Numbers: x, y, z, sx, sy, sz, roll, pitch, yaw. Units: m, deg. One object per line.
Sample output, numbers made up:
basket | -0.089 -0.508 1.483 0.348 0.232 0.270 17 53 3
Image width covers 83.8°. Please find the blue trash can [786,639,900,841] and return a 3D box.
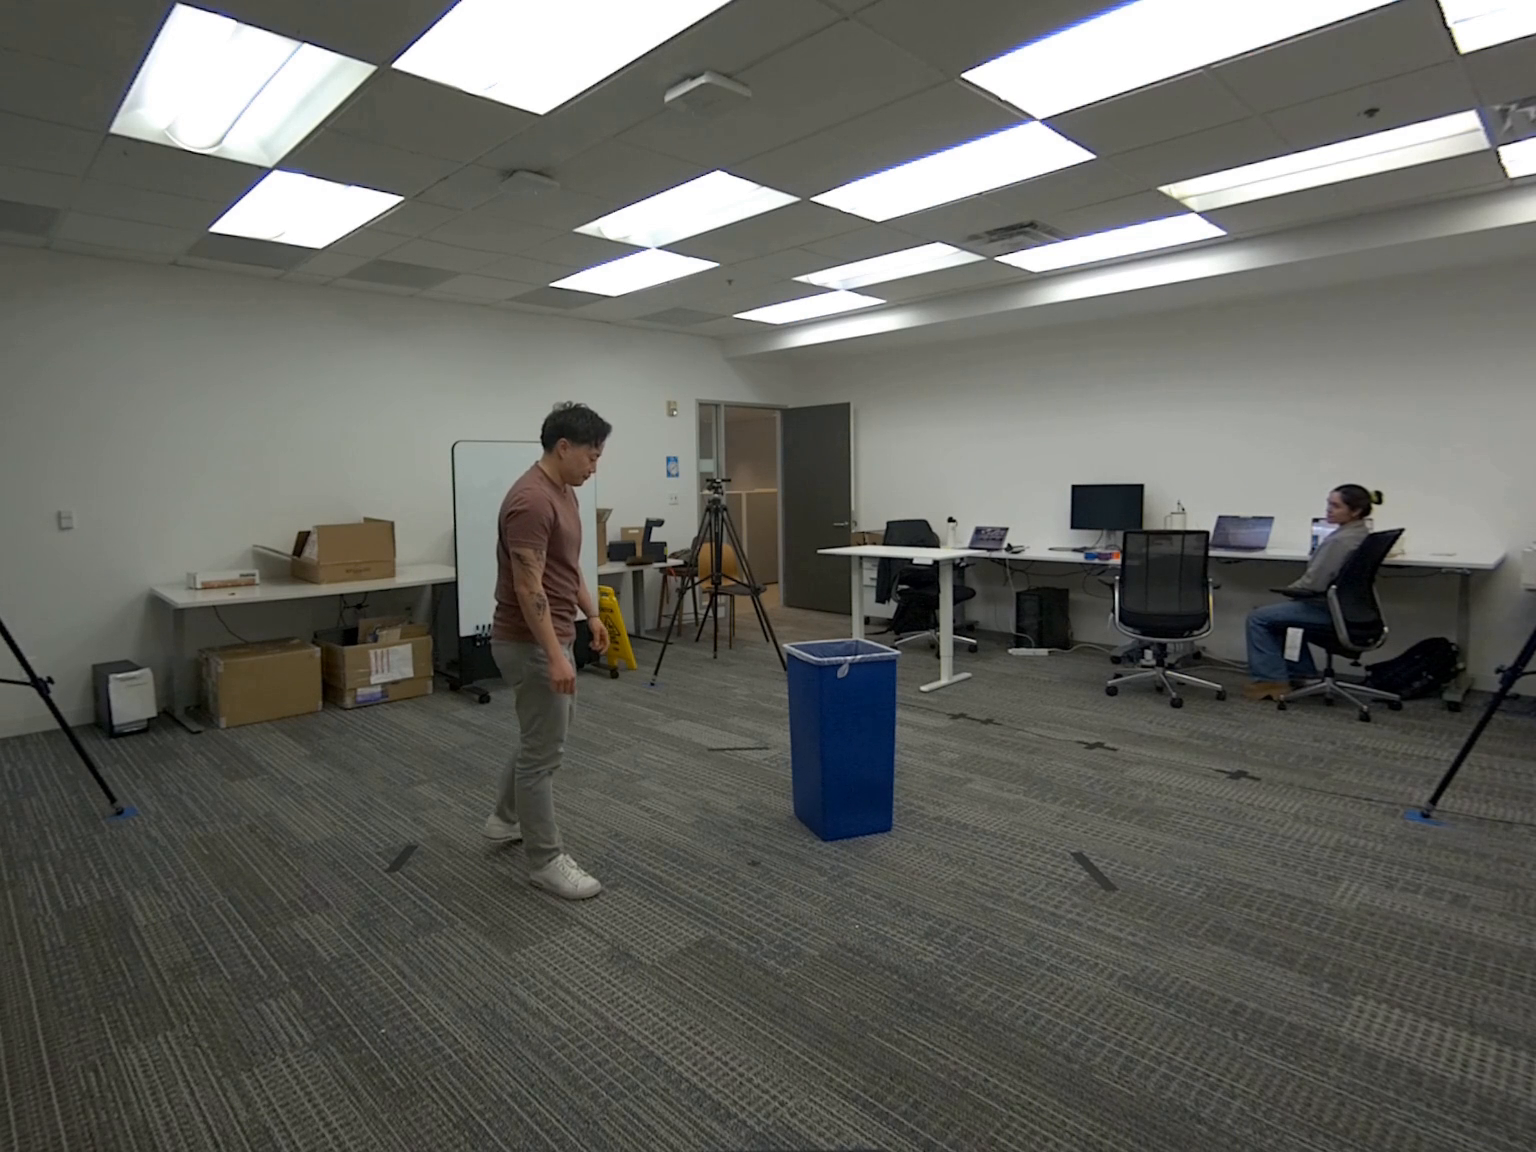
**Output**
blue trash can | 0.290 0.639 3.447 0.371 0.711 0.382 -2 4 -21
